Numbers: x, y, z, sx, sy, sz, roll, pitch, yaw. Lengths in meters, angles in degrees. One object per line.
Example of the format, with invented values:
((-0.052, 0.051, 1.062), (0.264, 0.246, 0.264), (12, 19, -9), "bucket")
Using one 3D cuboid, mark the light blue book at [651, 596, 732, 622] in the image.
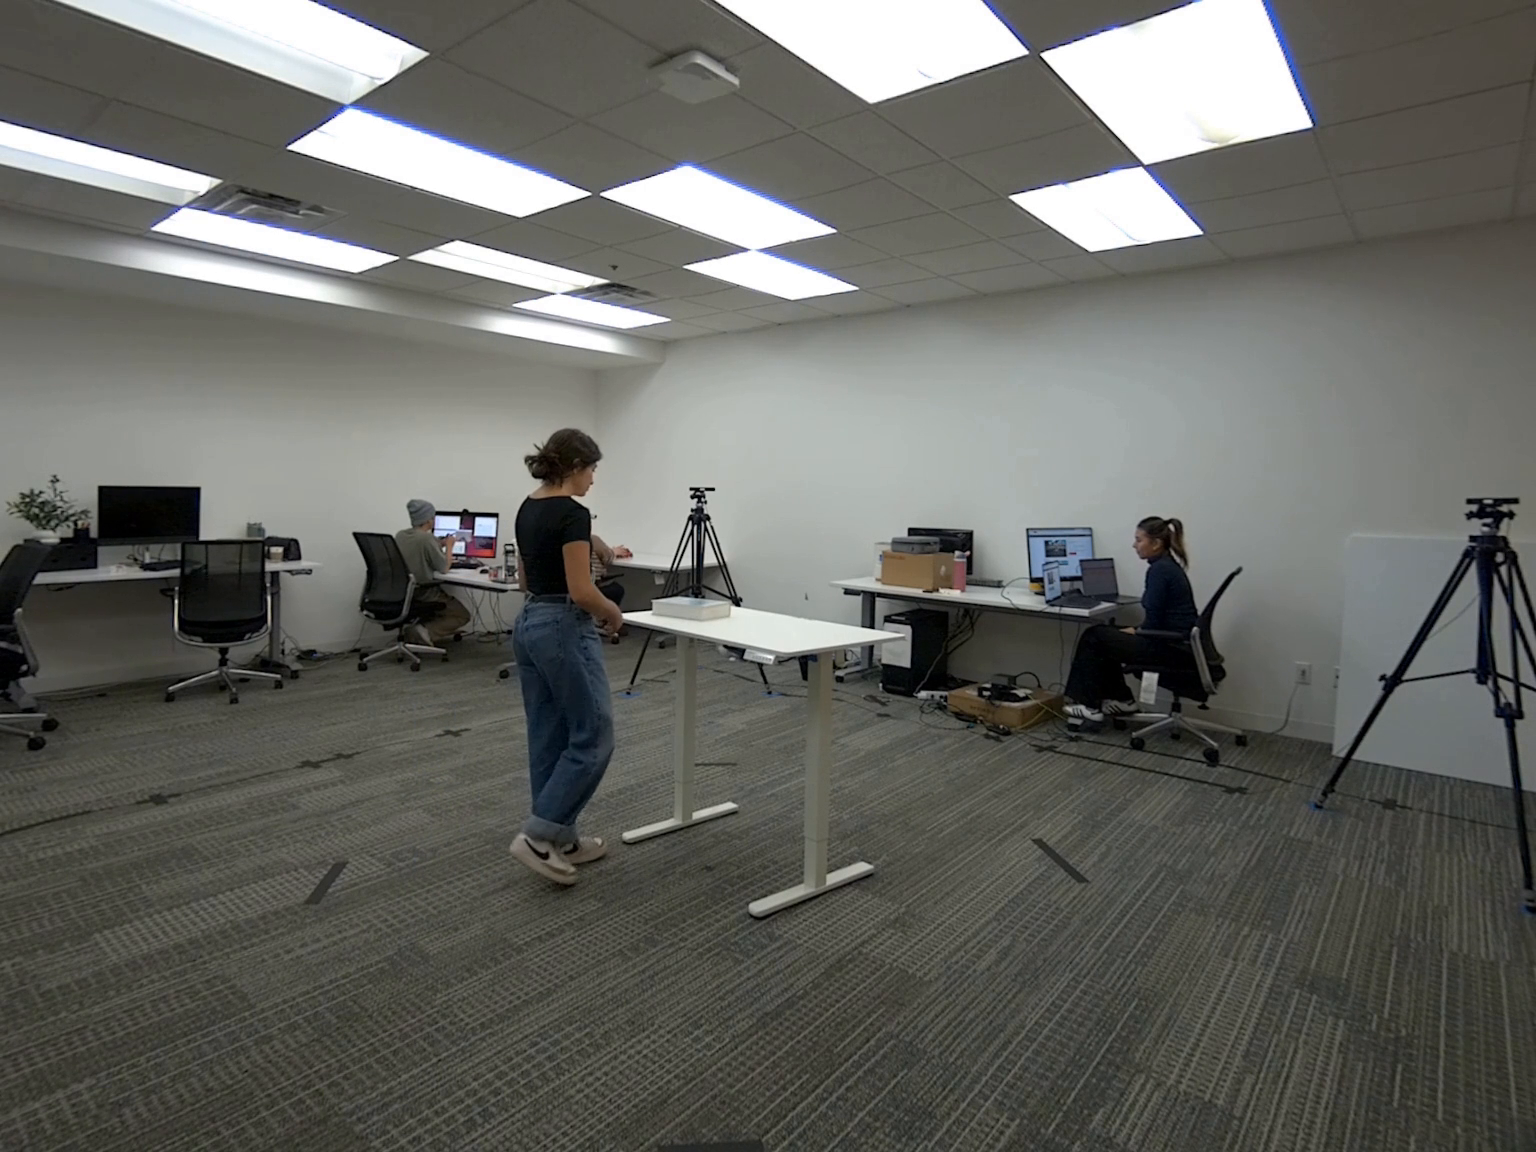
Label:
((-0.316, 0.127, 3.405), (0.269, 0.059, 0.186), (4, 6, 34), "light blue book")
